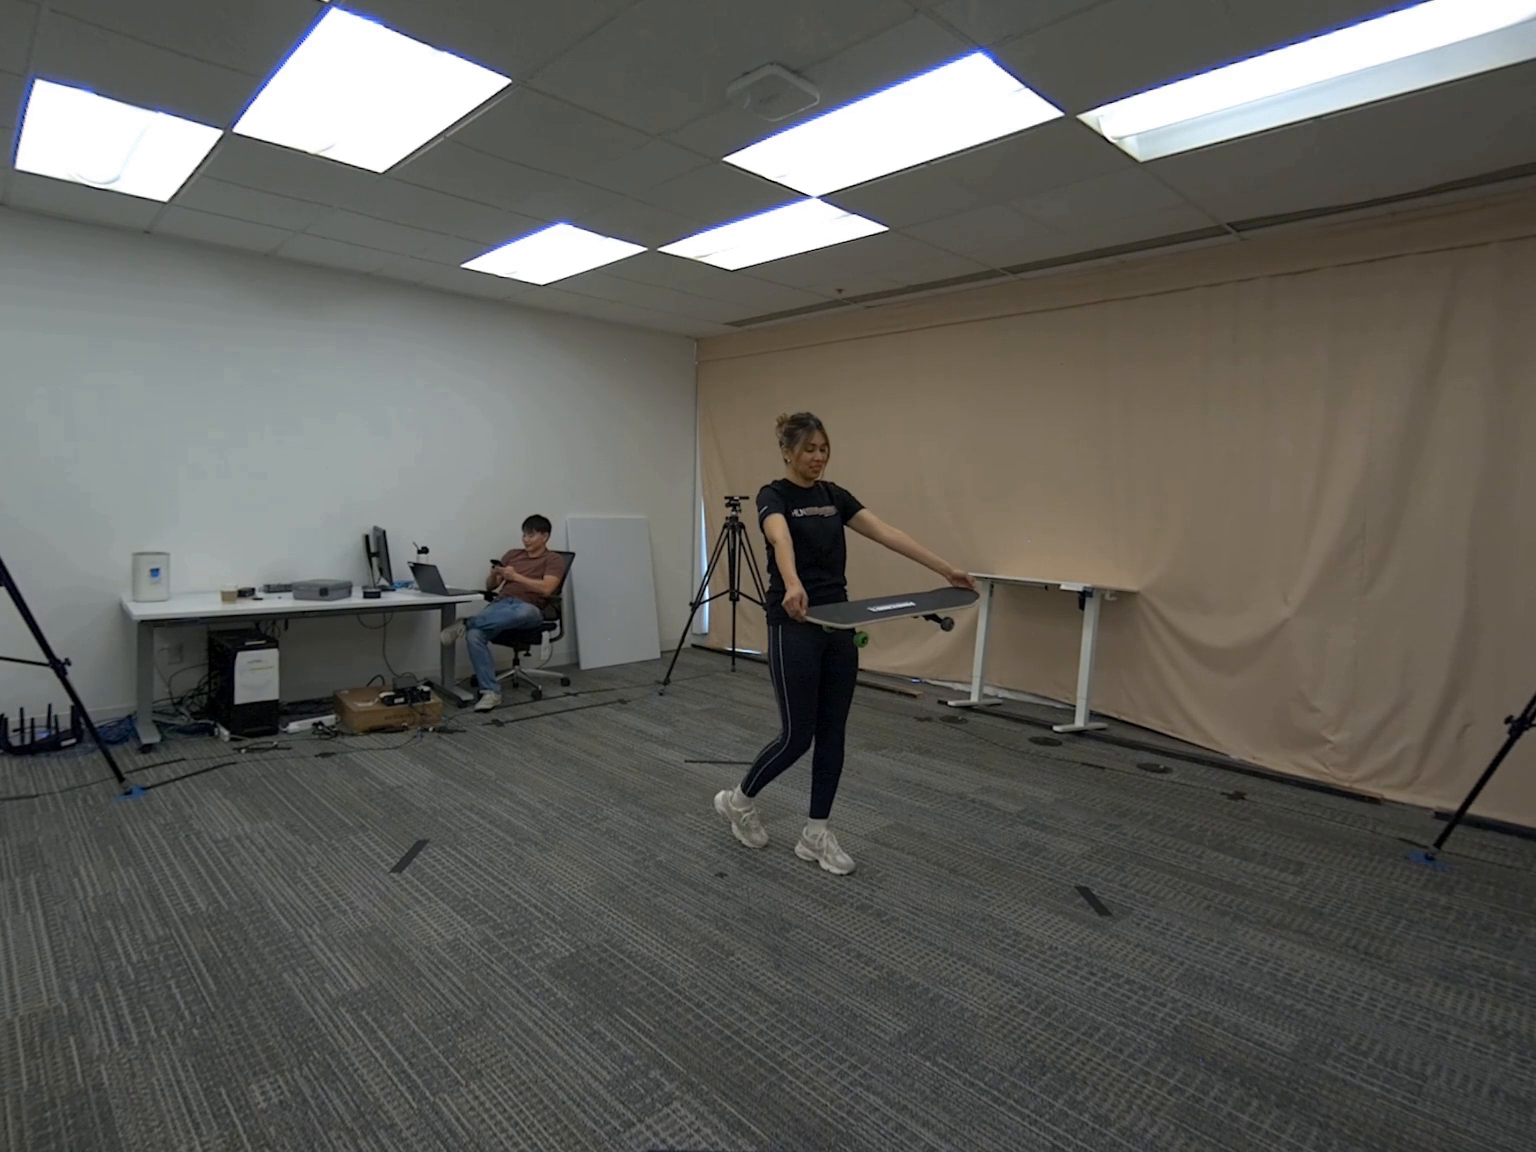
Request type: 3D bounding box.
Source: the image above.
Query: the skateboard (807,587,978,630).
[{"bbox_3d":[0.404,0.141,2.833,0.770,0.109,0.199,-7,19,-35],"label":"skateboard"}]
